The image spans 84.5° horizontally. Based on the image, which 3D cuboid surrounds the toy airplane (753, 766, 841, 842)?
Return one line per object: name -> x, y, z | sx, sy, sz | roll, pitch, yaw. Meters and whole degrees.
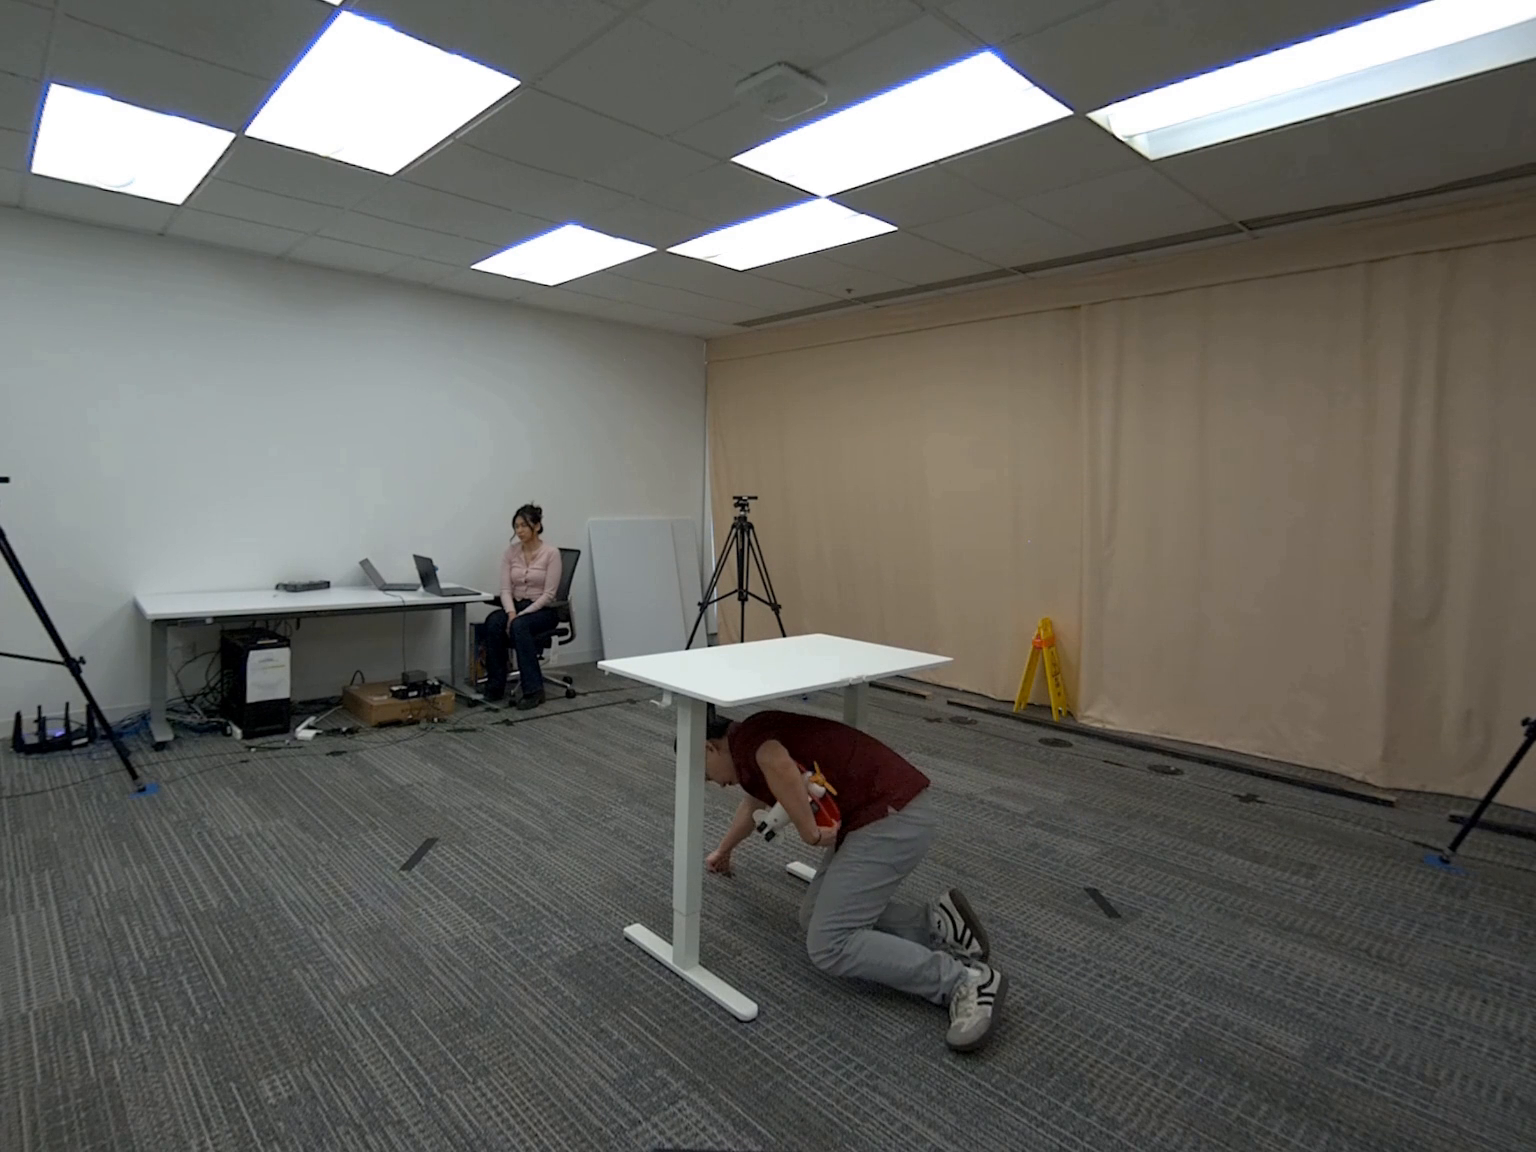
toy airplane -> 0.050, 0.674, 2.500 | 0.262, 0.252, 0.154 | -23, -4, 30
